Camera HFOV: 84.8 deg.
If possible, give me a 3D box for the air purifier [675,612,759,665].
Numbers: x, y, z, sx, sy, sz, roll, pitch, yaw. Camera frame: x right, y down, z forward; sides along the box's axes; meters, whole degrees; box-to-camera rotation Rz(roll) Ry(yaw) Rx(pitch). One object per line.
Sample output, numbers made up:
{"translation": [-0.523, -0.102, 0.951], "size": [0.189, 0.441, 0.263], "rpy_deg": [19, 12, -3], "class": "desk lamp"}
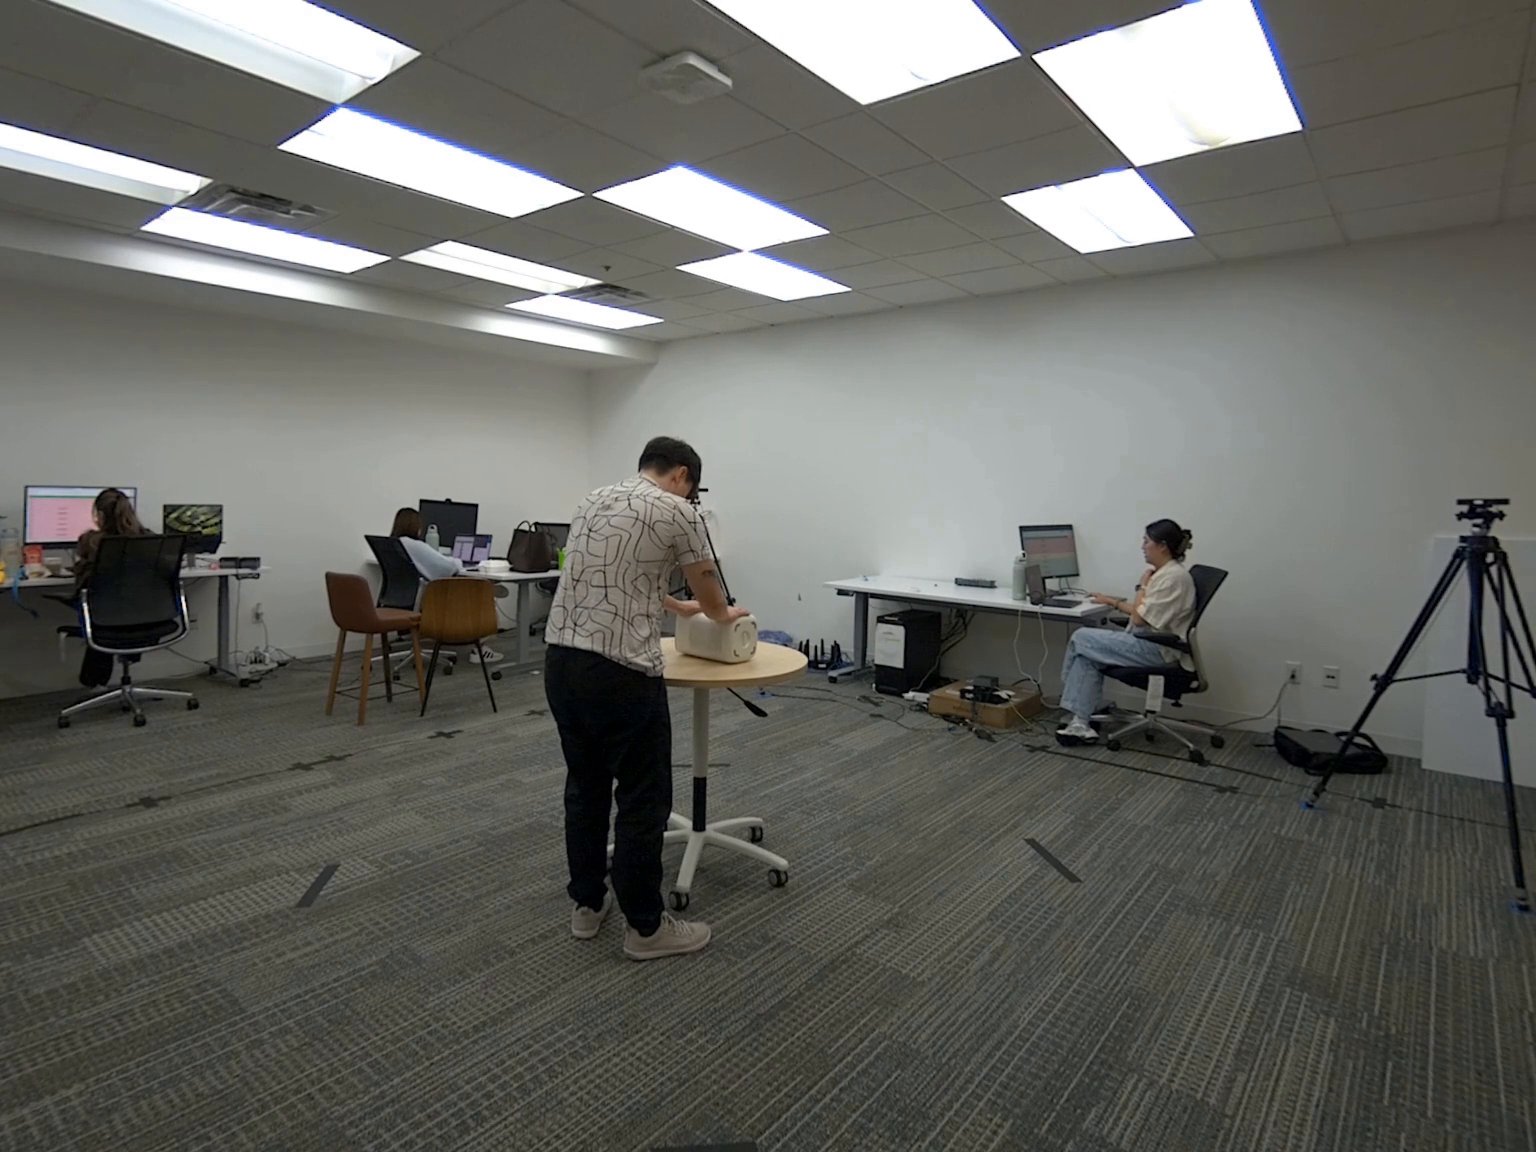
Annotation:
{"translation": [-0.191, 0.205, 3.060], "size": [0.274, 0.171, 0.166], "rpy_deg": [5, 7, 39], "class": "air purifier"}
